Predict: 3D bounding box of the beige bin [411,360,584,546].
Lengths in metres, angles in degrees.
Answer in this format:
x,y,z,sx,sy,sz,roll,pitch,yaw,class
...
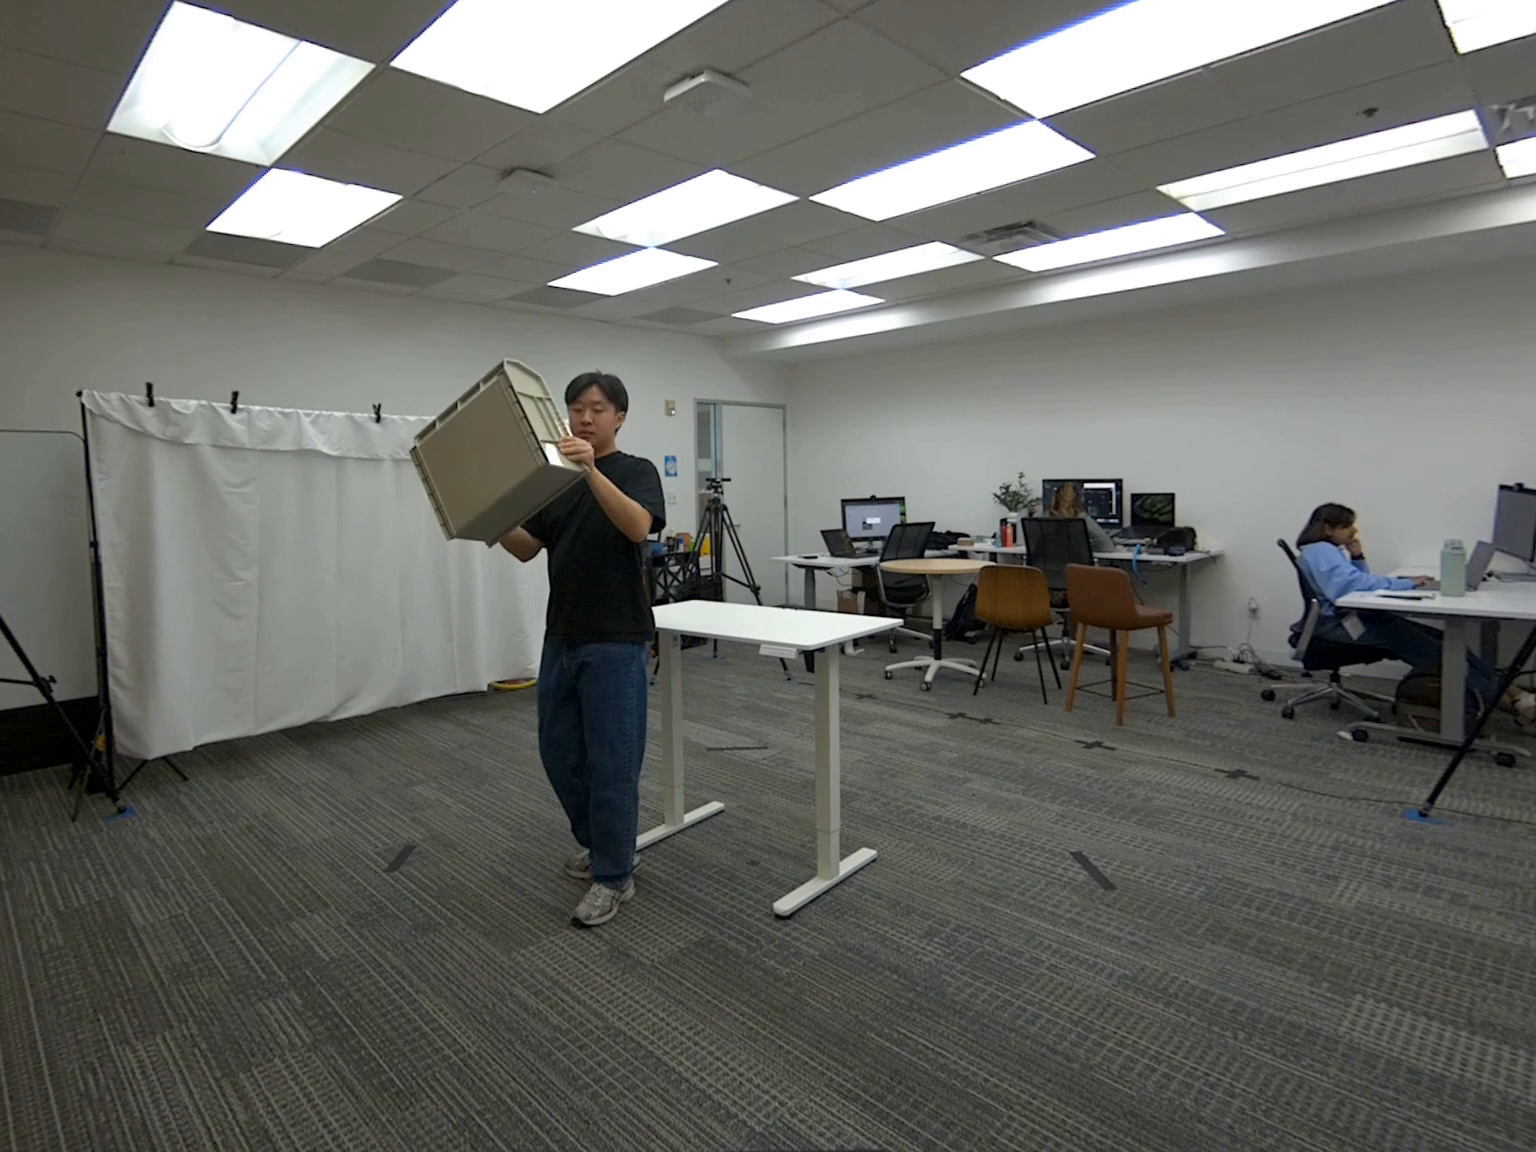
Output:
x,y,z,sx,sy,sz,roll,pitch,yaw,class
-0.792,-0.355,2.492,0.425,0.385,0.184,-34,-16,21,beige bin
